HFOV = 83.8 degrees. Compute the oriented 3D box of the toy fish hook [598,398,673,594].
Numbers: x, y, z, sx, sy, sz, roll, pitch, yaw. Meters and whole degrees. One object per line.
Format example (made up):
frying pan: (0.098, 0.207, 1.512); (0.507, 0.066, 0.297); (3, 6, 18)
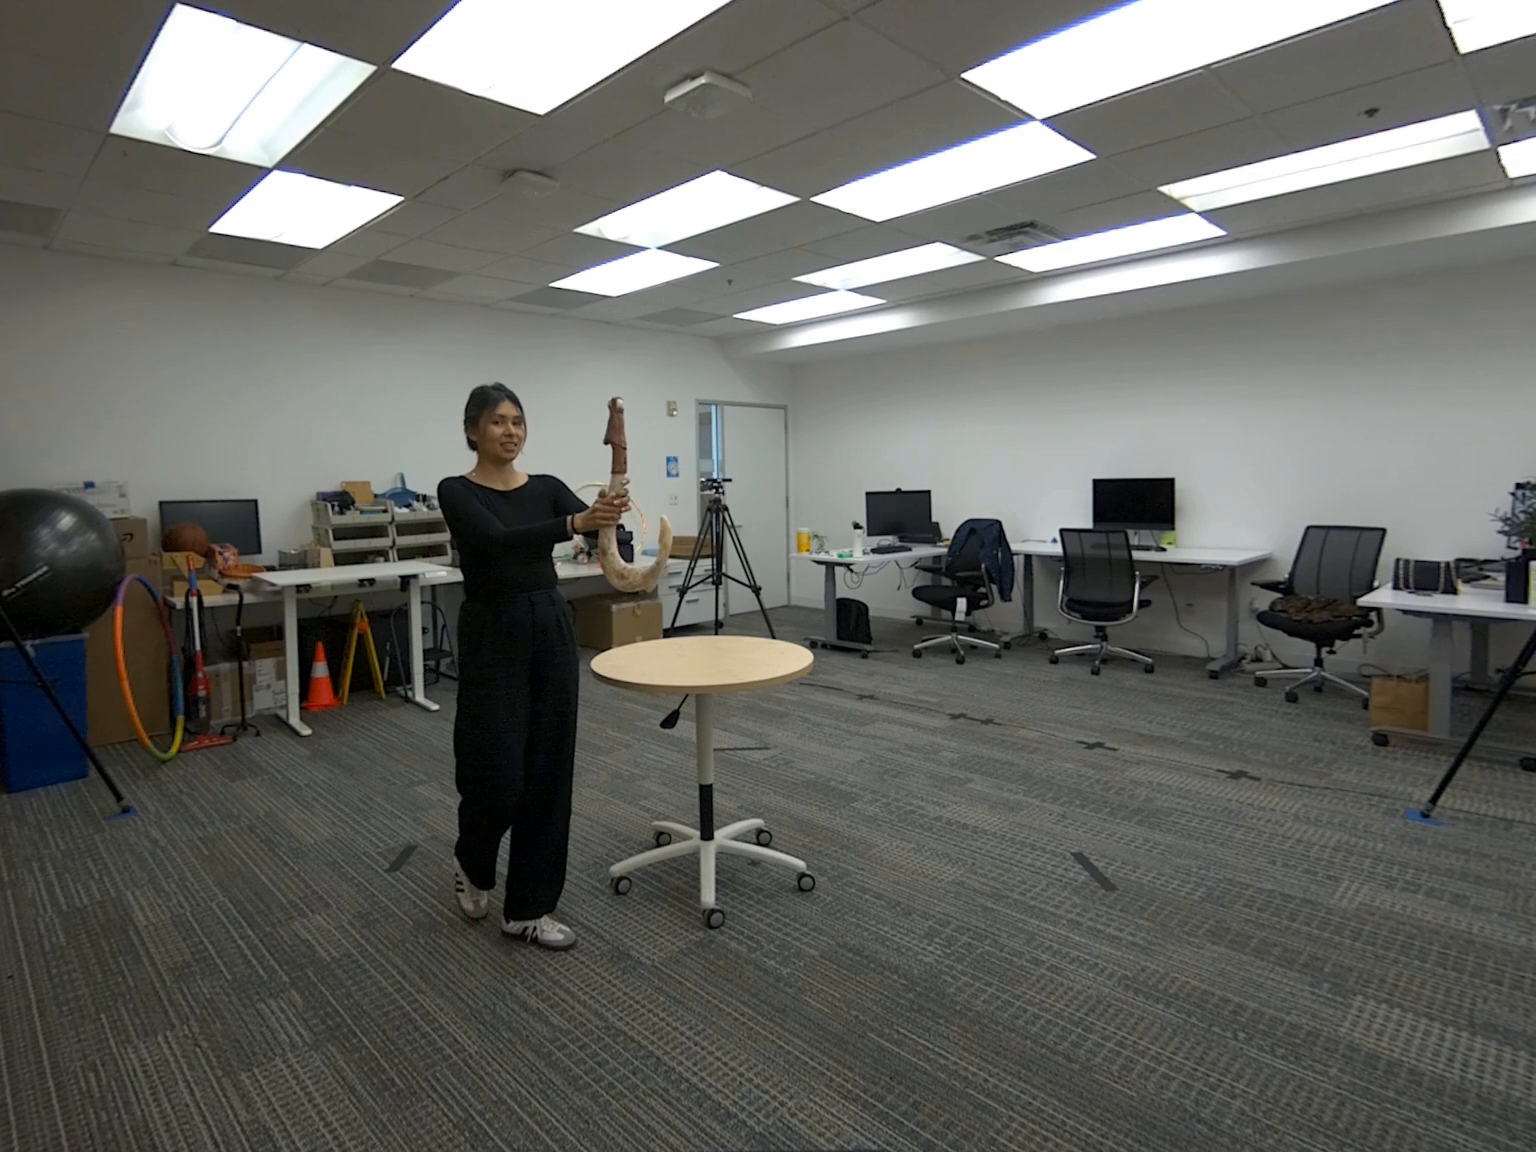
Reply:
toy fish hook: (-0.349, -0.210, 2.204); (0.230, 0.506, 0.047); (0, 2, 27)
